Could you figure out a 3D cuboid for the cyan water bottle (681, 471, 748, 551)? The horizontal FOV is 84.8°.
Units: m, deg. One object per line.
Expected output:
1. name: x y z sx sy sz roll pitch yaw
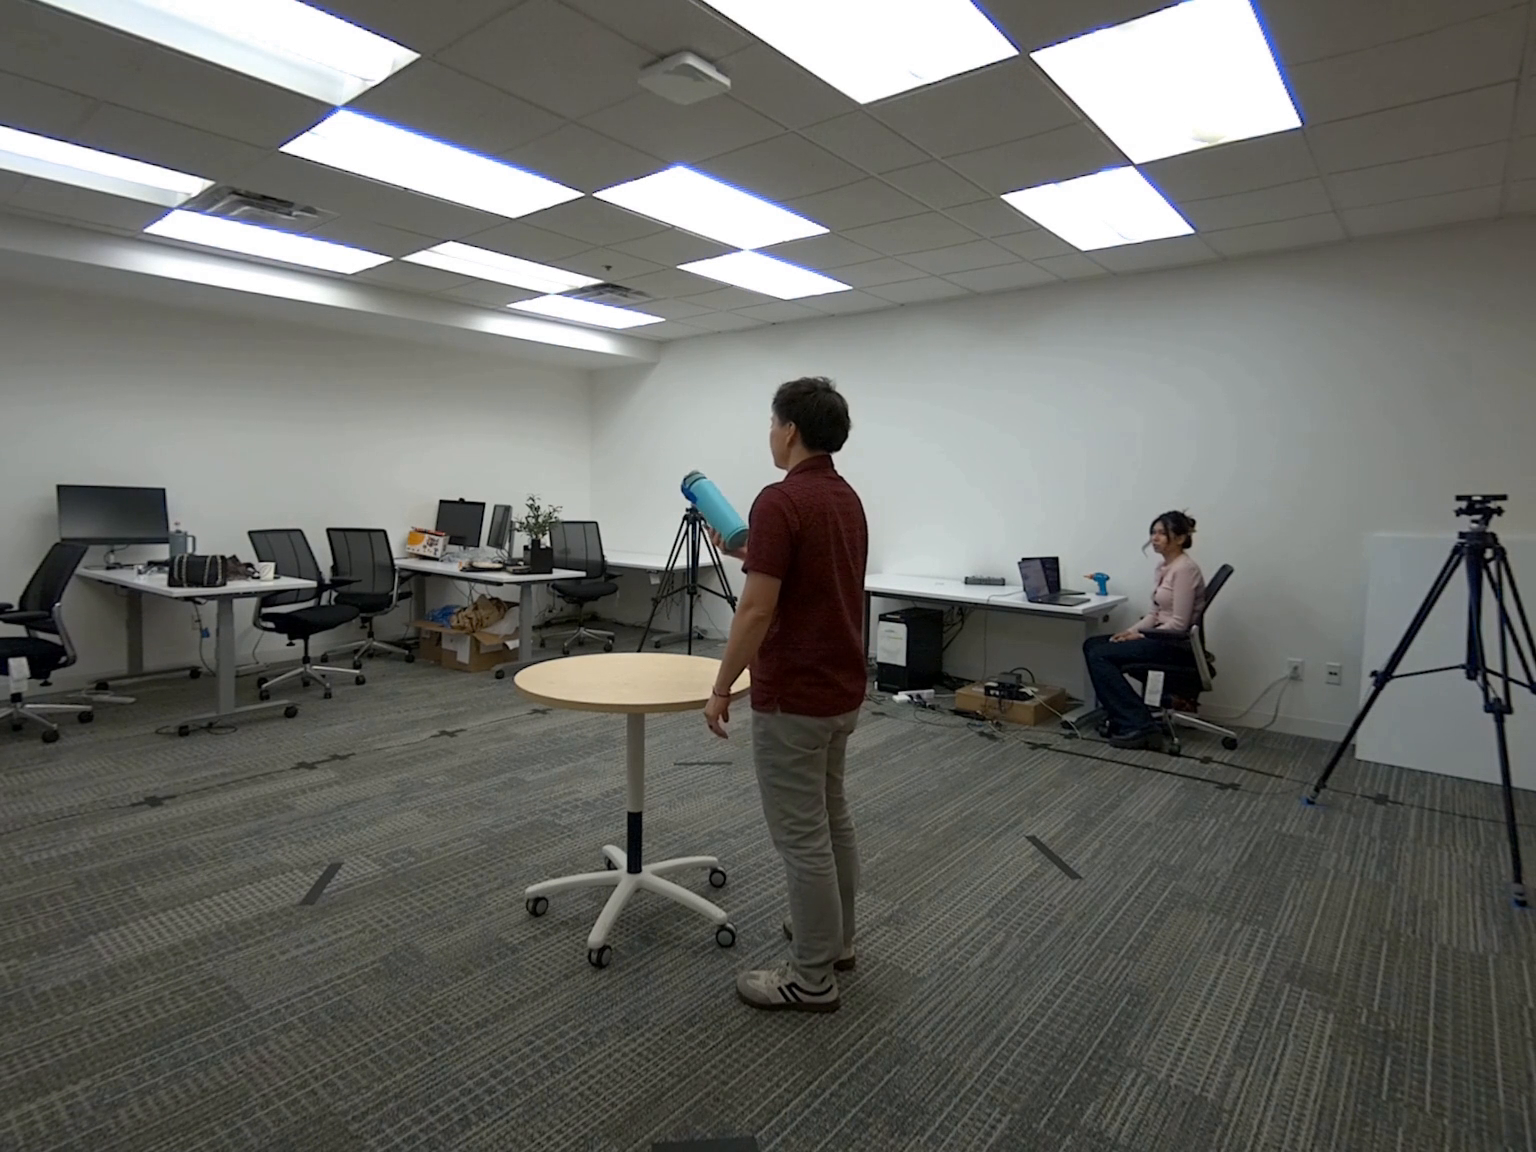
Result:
1. cyan water bottle: -0.177 -0.220 2.616 0.089 0.092 0.293 -3 48 -49
